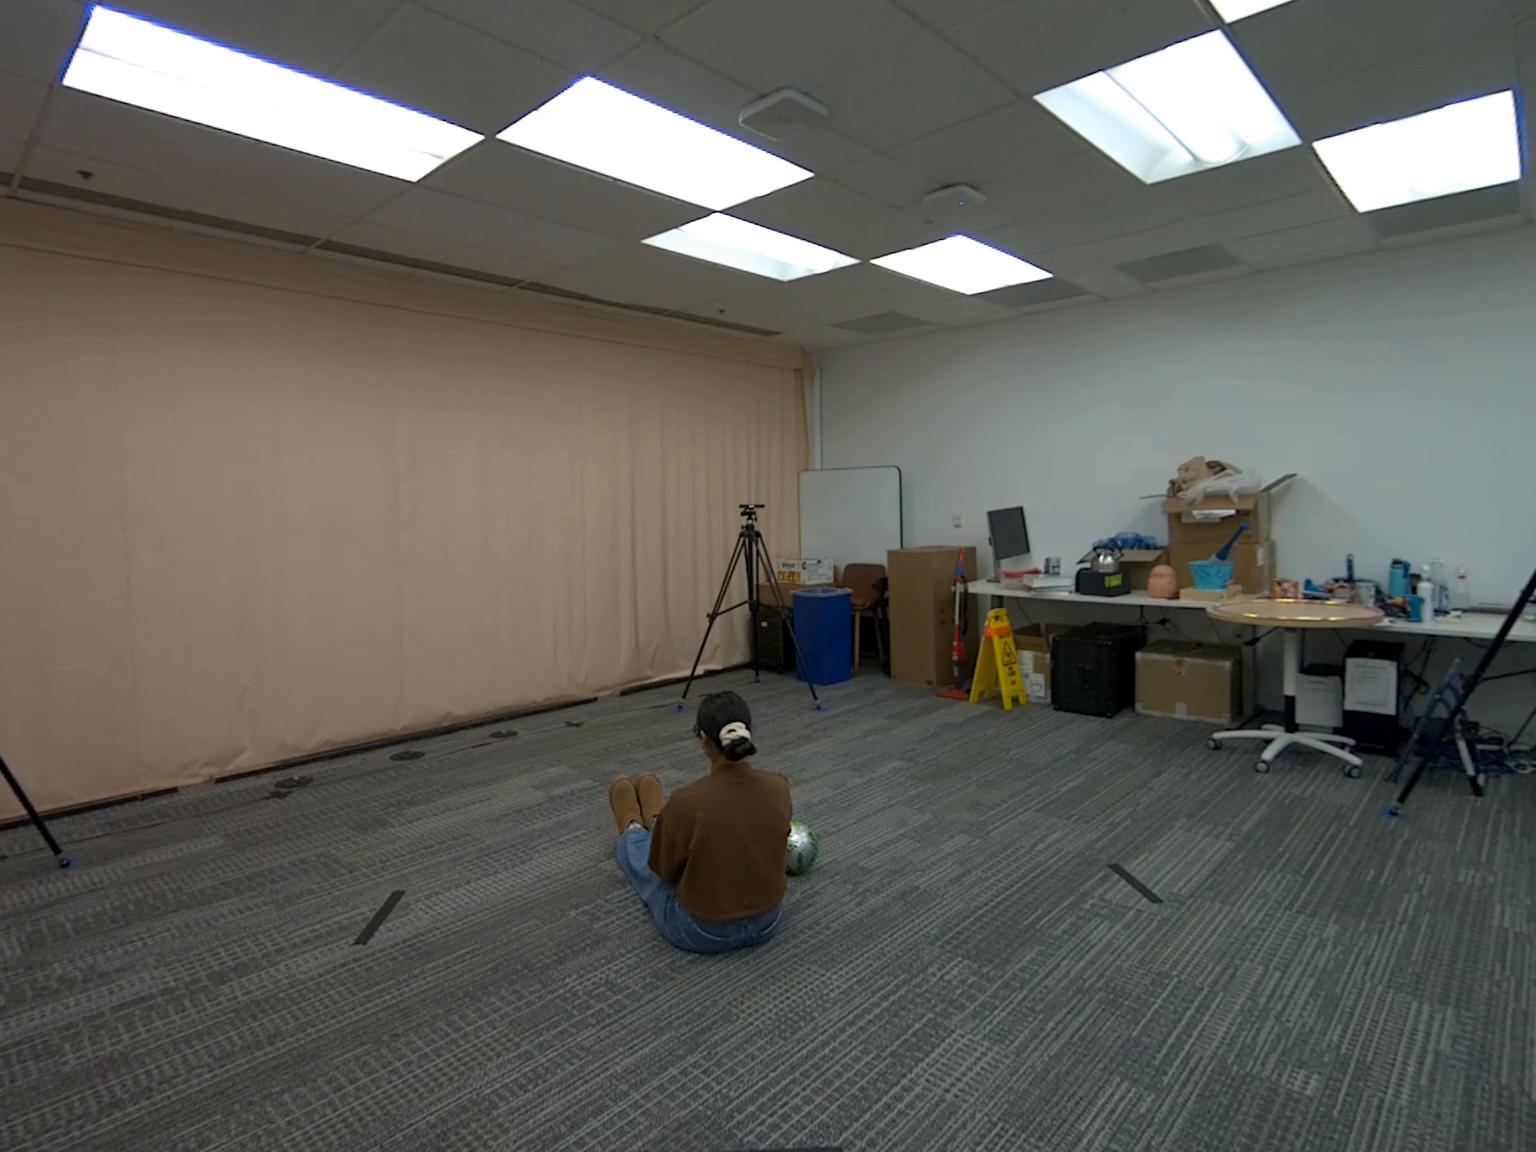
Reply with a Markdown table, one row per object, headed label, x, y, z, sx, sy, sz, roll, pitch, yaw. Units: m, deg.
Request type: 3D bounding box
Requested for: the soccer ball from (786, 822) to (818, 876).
| label | x | y | z | sx | sy | sz | roll | pitch | yaw |
| --- | --- | --- | --- | --- | --- | --- | --- | --- | --- |
| soccer ball | 0.101 | 1.029 | 3.192 | 0.187 | 0.187 | 0.188 | -1 | 4 | -2 |
